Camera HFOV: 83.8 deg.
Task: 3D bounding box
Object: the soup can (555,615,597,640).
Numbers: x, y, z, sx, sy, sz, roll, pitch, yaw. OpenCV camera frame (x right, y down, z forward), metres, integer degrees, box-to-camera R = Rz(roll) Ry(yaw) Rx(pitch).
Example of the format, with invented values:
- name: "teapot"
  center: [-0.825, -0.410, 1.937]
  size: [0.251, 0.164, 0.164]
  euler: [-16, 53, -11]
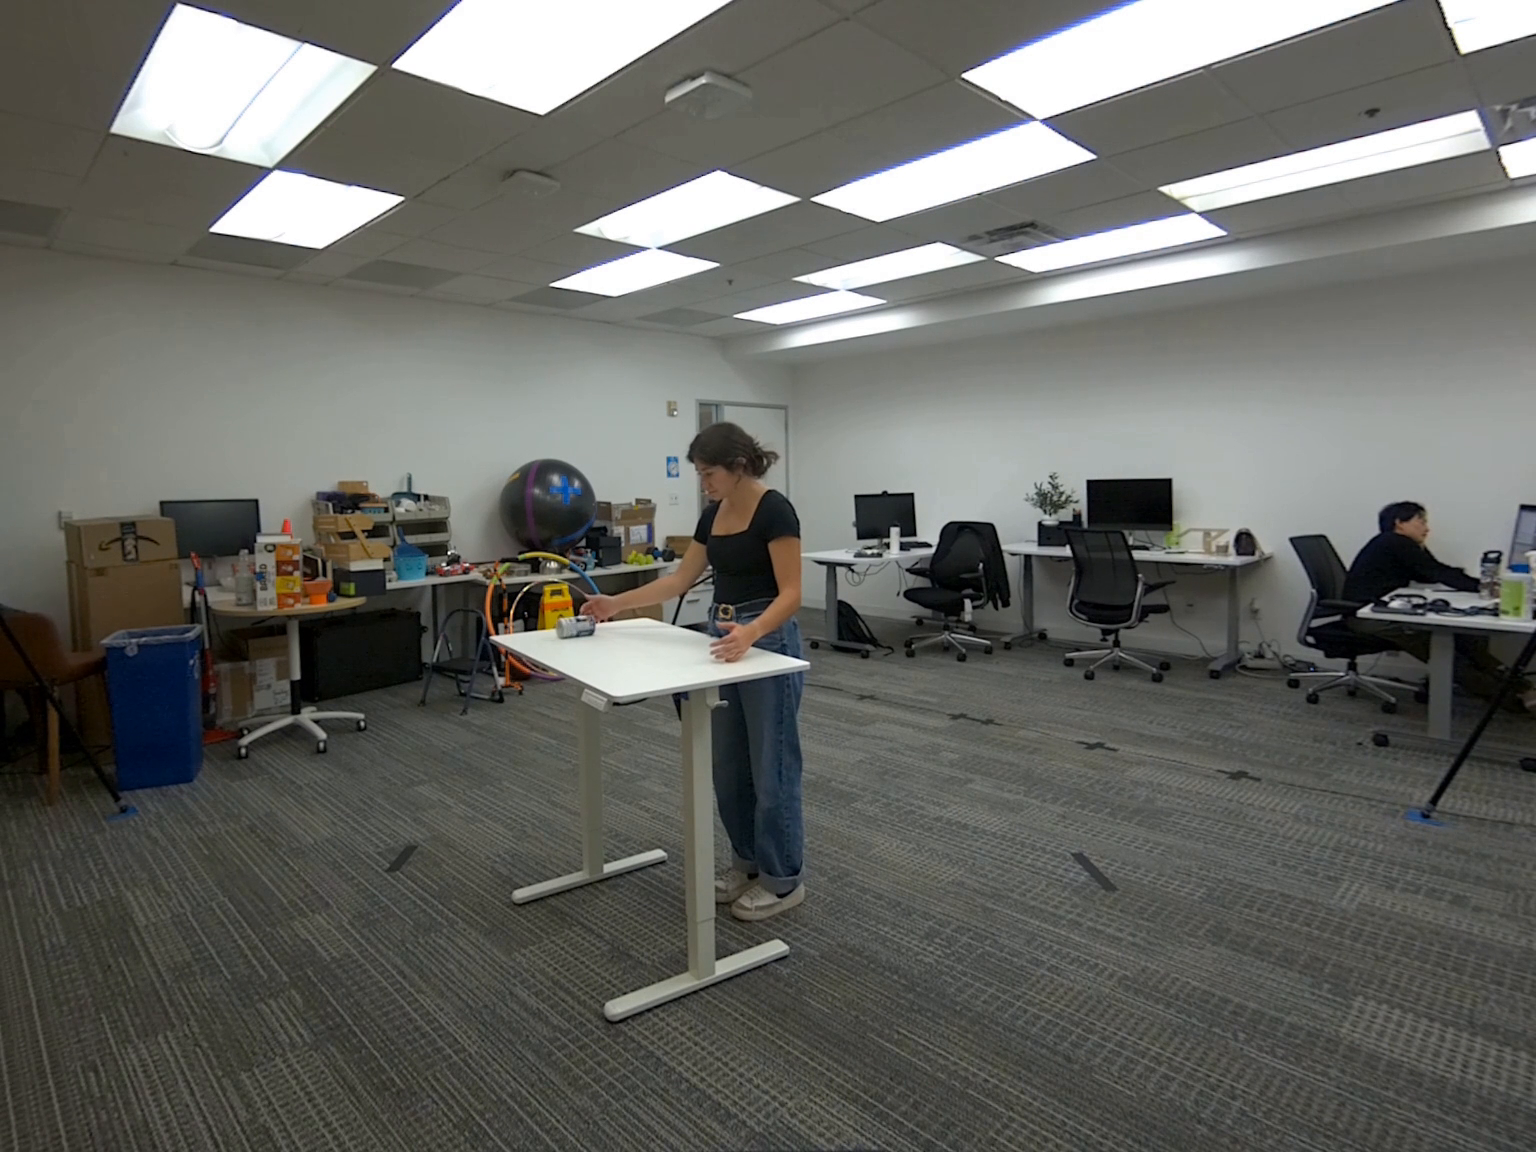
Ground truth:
- name: "soup can"
  center: [-0.643, 0.170, 2.863]
  size: [0.119, 0.067, 0.069]
  euler: [-3, 5, -28]
